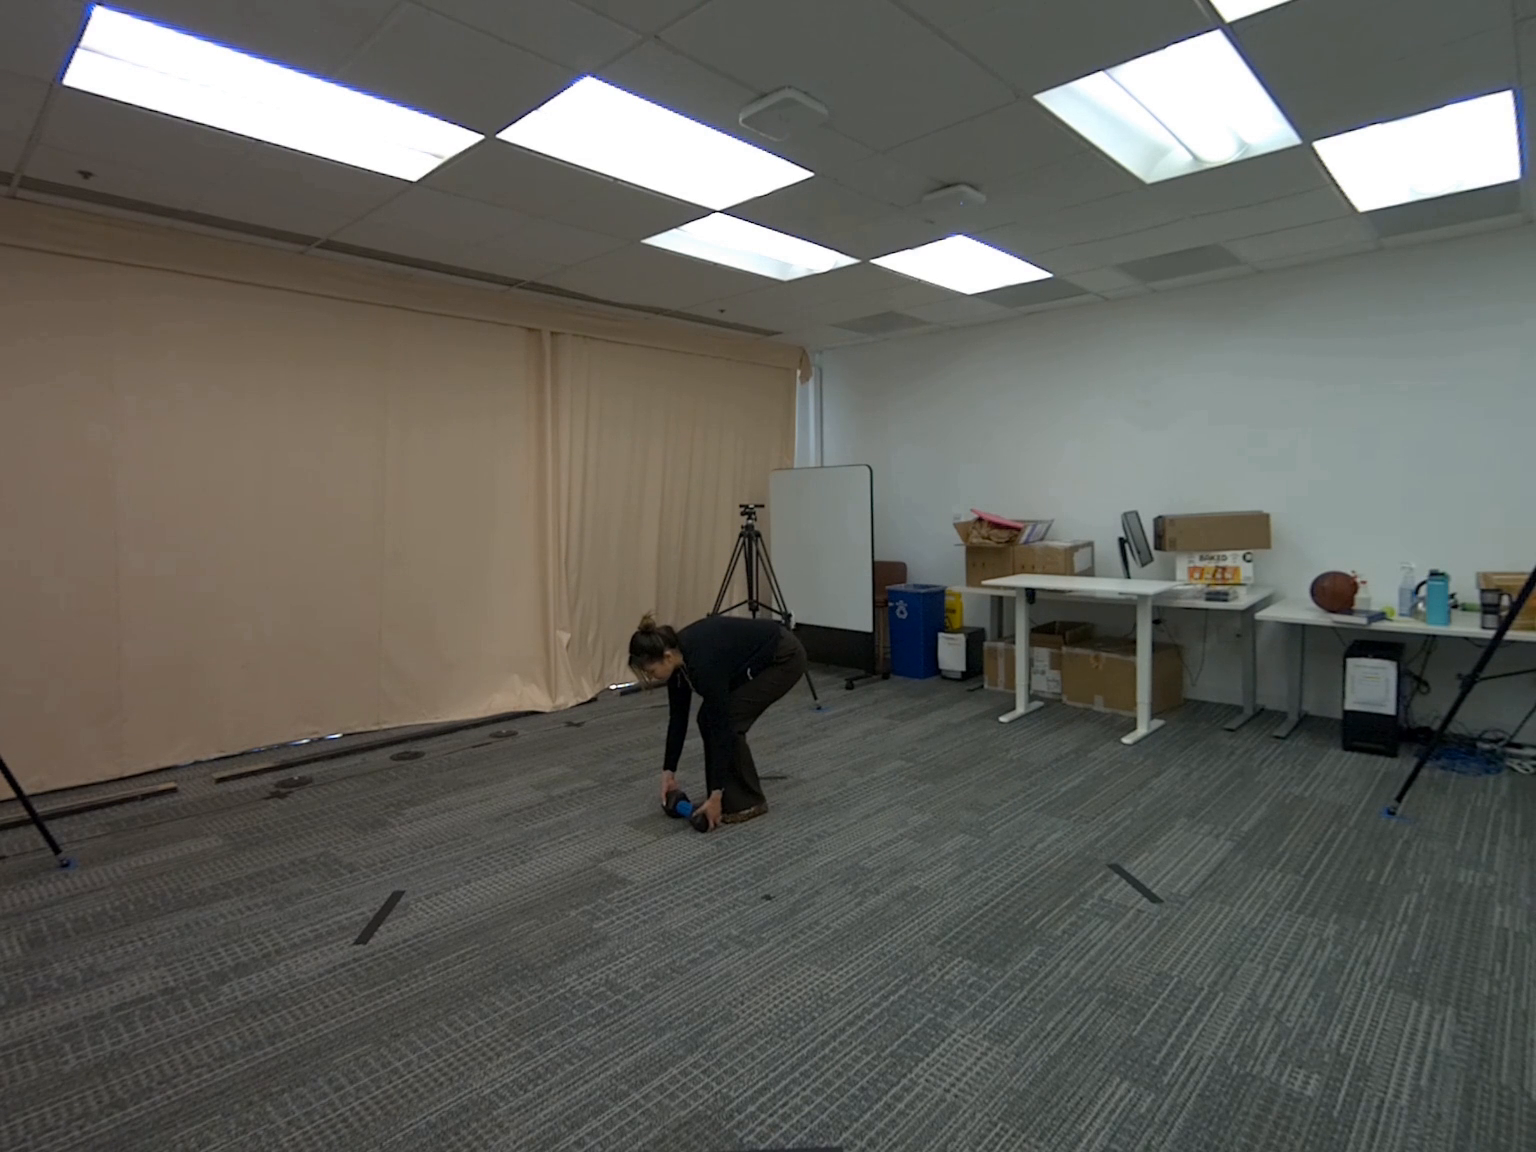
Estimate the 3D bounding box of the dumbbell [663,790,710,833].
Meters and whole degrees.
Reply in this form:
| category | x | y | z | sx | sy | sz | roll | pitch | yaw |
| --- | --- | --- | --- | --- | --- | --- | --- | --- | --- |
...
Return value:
| category | x | y | z | sx | sy | sz | roll | pitch | yaw |
| --- | --- | --- | --- | --- | --- | --- | --- | --- | --- |
| dumbbell | -0.346 | 1.031 | 3.713 | 0.105 | 0.123 | 0.303 | 32 | -17 | -35 |
